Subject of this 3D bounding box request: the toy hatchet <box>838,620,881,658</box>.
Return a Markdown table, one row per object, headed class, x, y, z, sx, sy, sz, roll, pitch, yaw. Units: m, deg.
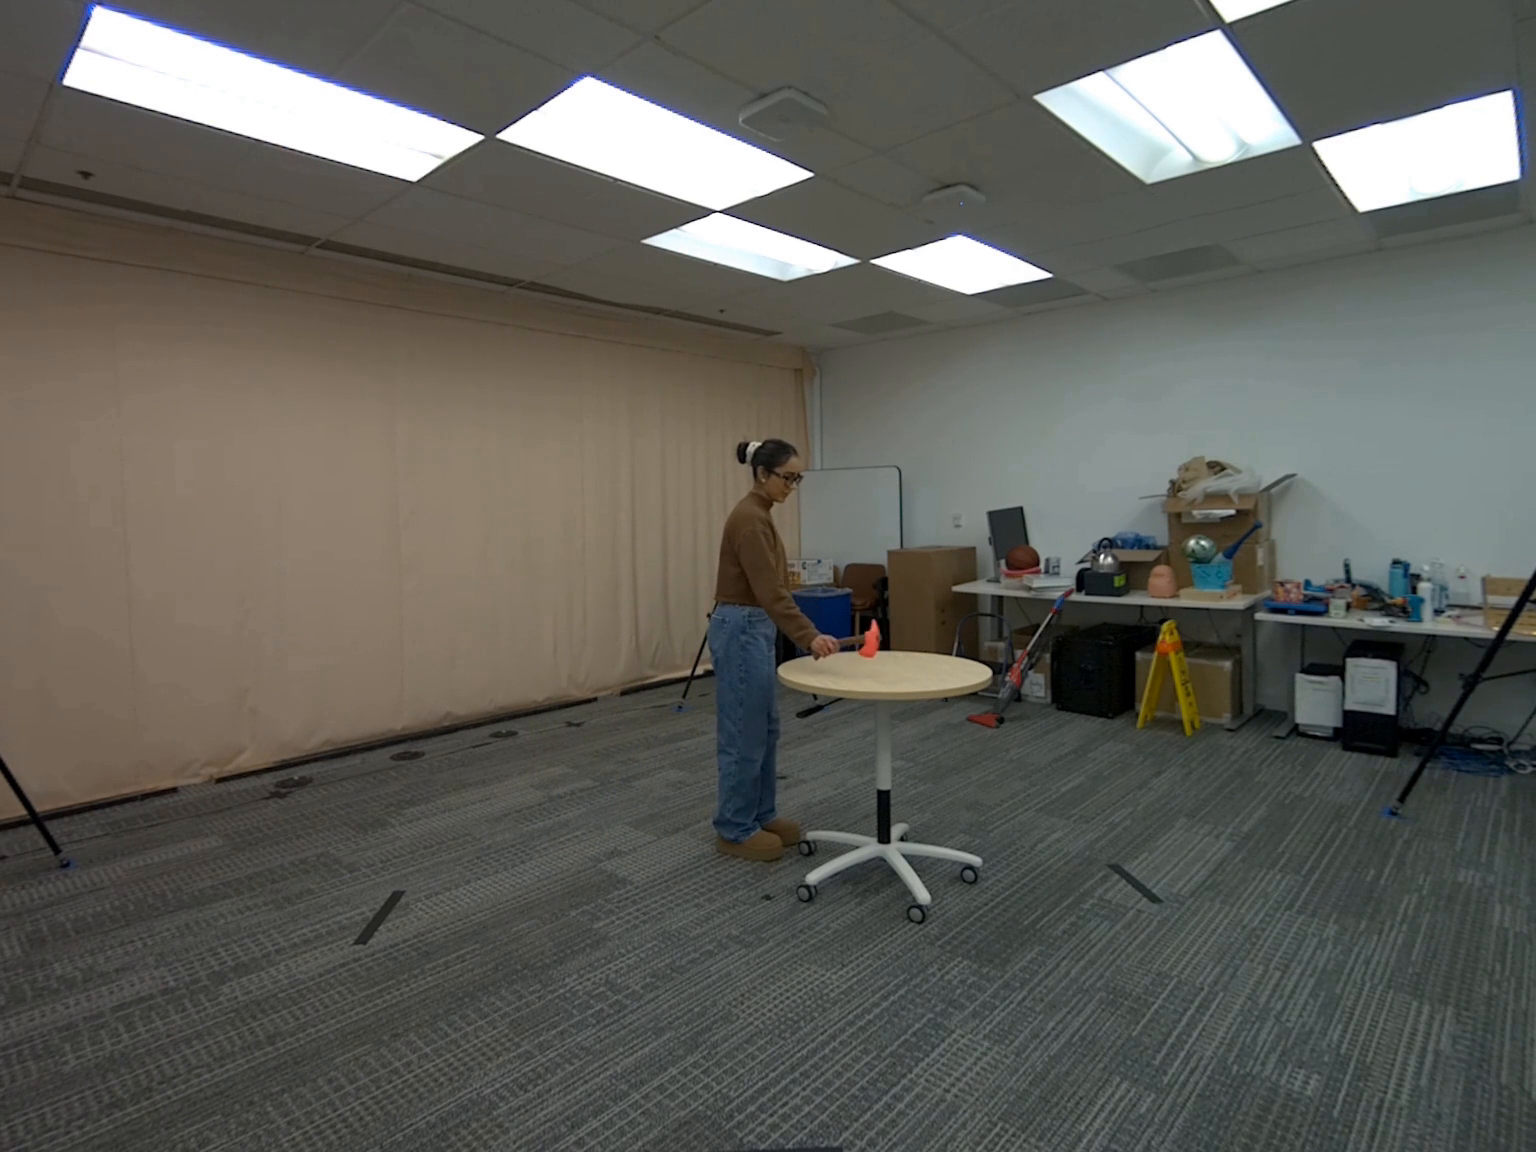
| class | x | y | z | sx | sy | sz | roll | pitch | yaw |
| --- | --- | --- | --- | --- | --- | --- | --- | --- | --- |
| toy hatchet | 0.269 | 0.261 | 2.916 | 0.274 | 0.134 | 0.028 | -30 | -38 | 28 |
